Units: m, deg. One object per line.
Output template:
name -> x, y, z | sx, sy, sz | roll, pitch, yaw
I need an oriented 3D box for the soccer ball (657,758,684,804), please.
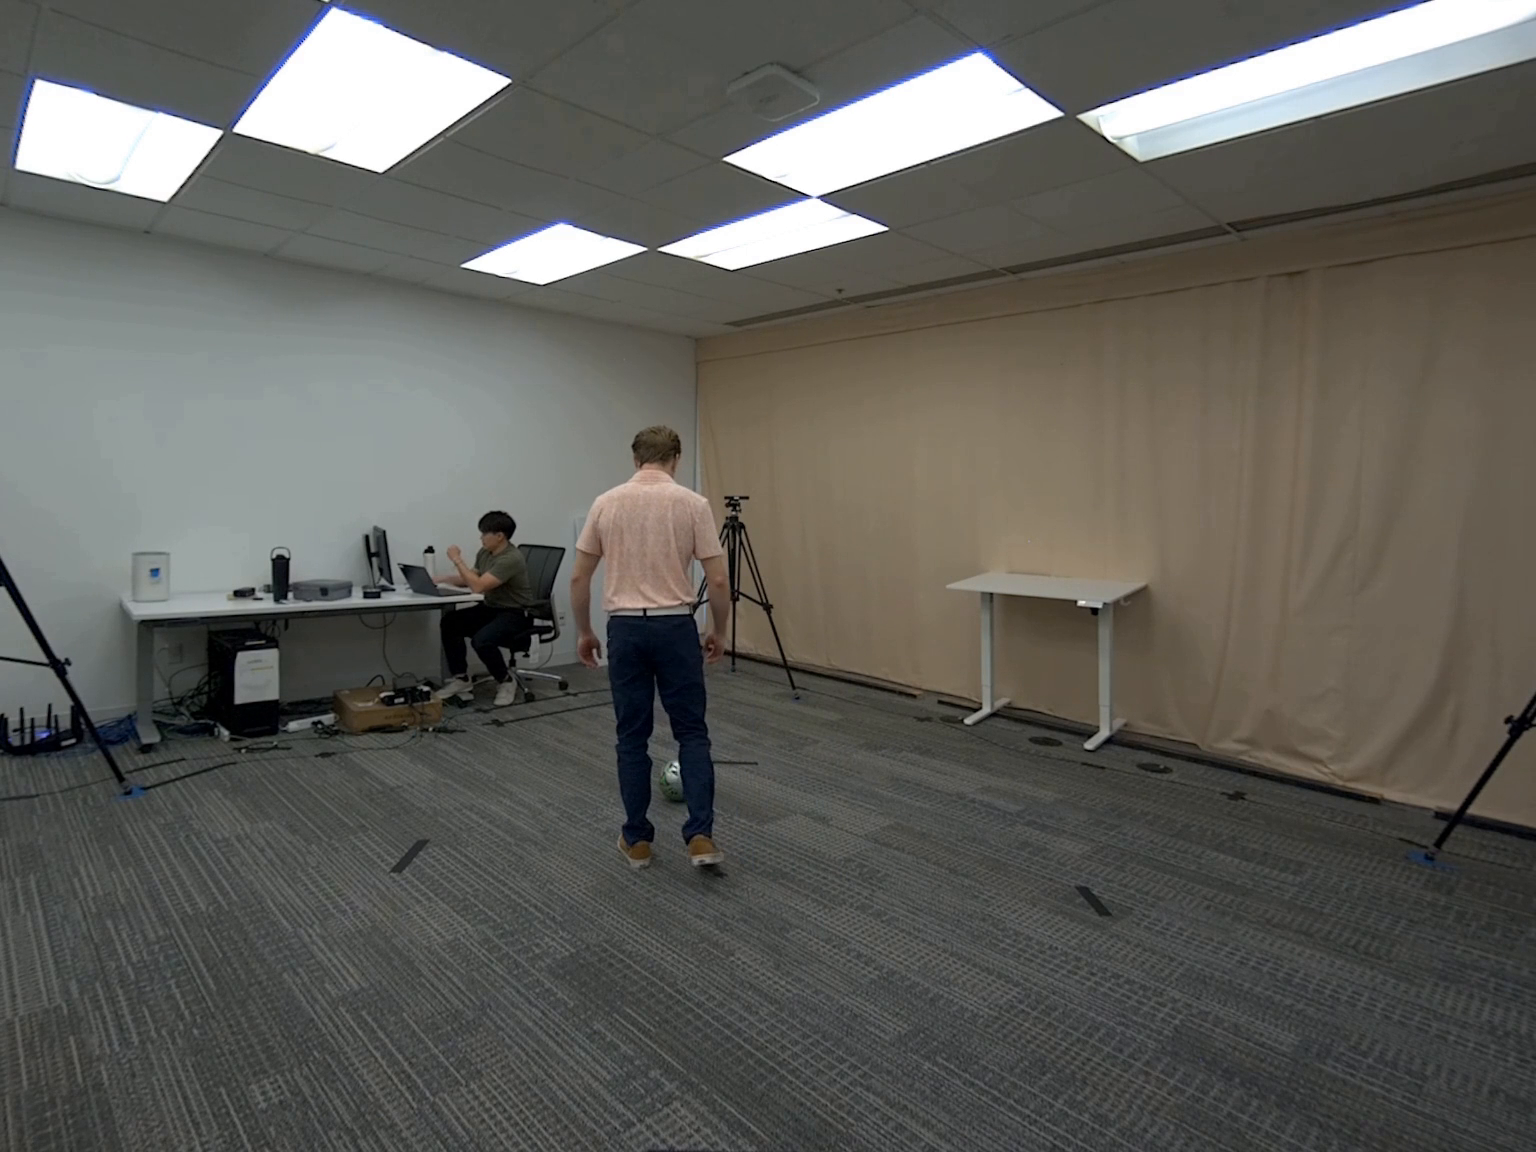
soccer ball -> -0.419, 0.941, 3.875 | 0.187, 0.187, 0.188 | 1, 4, -1
